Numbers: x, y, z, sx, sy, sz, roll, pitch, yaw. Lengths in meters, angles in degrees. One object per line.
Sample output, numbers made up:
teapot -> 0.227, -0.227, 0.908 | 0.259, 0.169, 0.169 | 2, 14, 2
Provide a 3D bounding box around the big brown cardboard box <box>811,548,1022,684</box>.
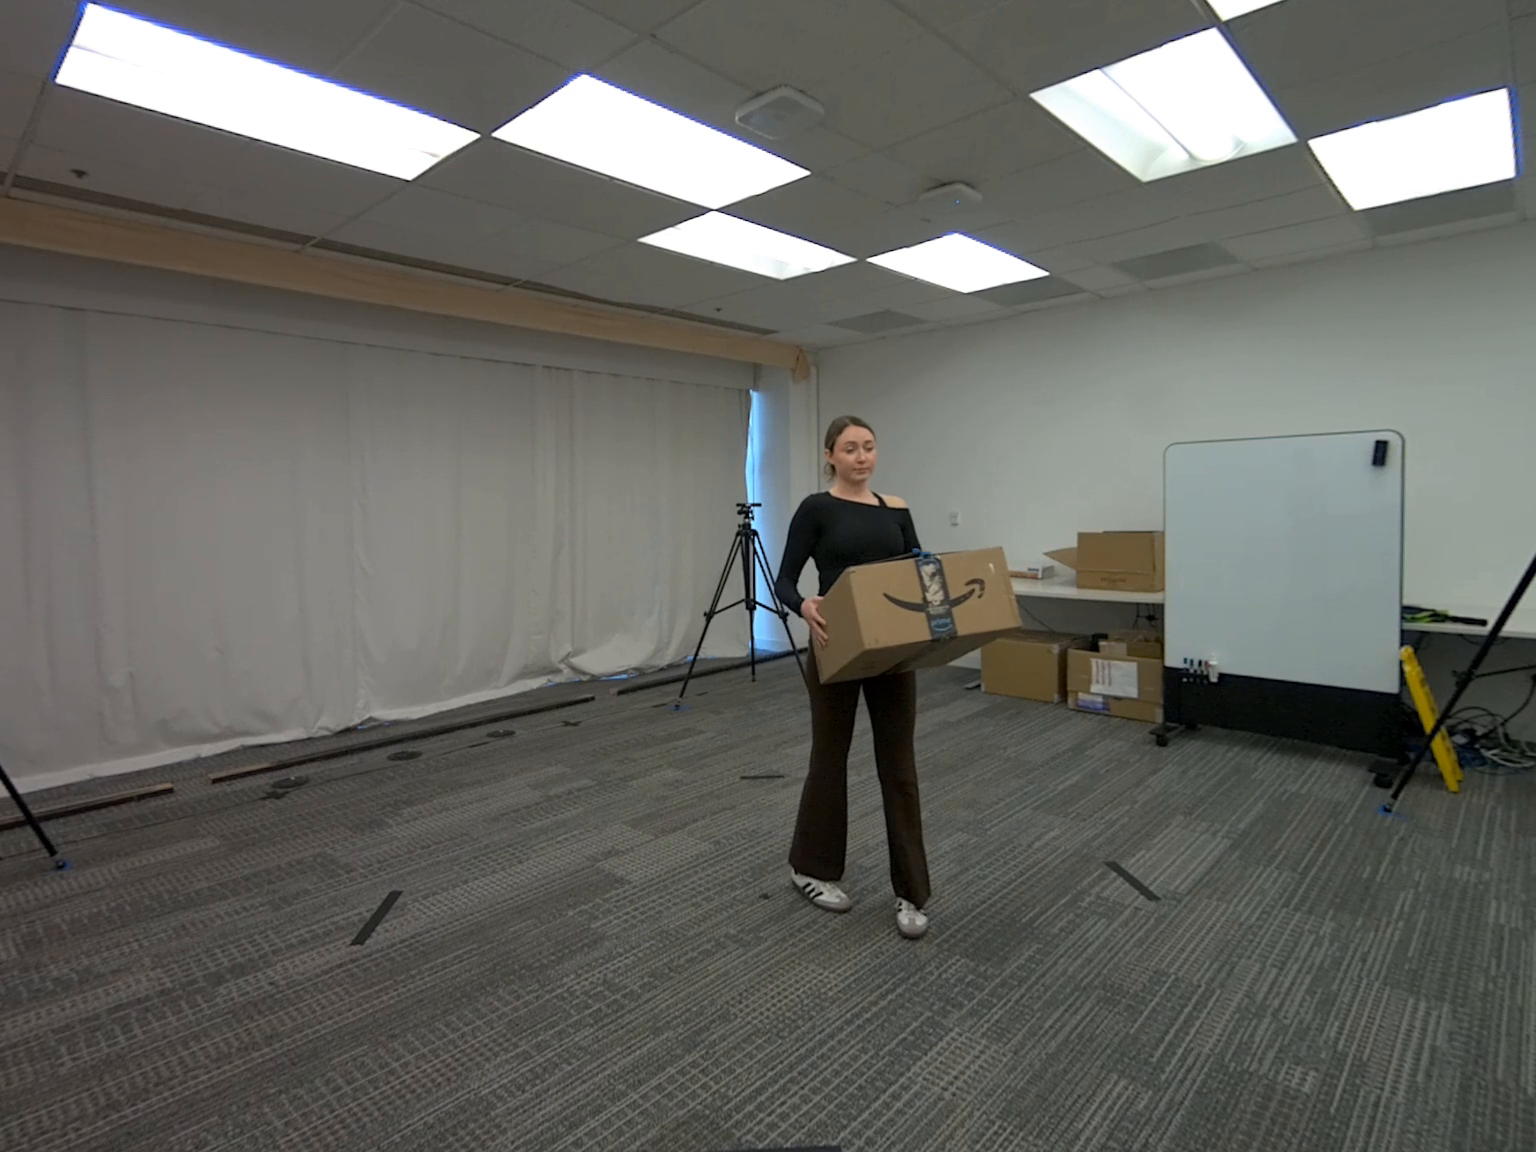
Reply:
big brown cardboard box -> 0.378, 0.125, 2.383 | 0.414, 0.236, 0.587 | -7, -16, -10
